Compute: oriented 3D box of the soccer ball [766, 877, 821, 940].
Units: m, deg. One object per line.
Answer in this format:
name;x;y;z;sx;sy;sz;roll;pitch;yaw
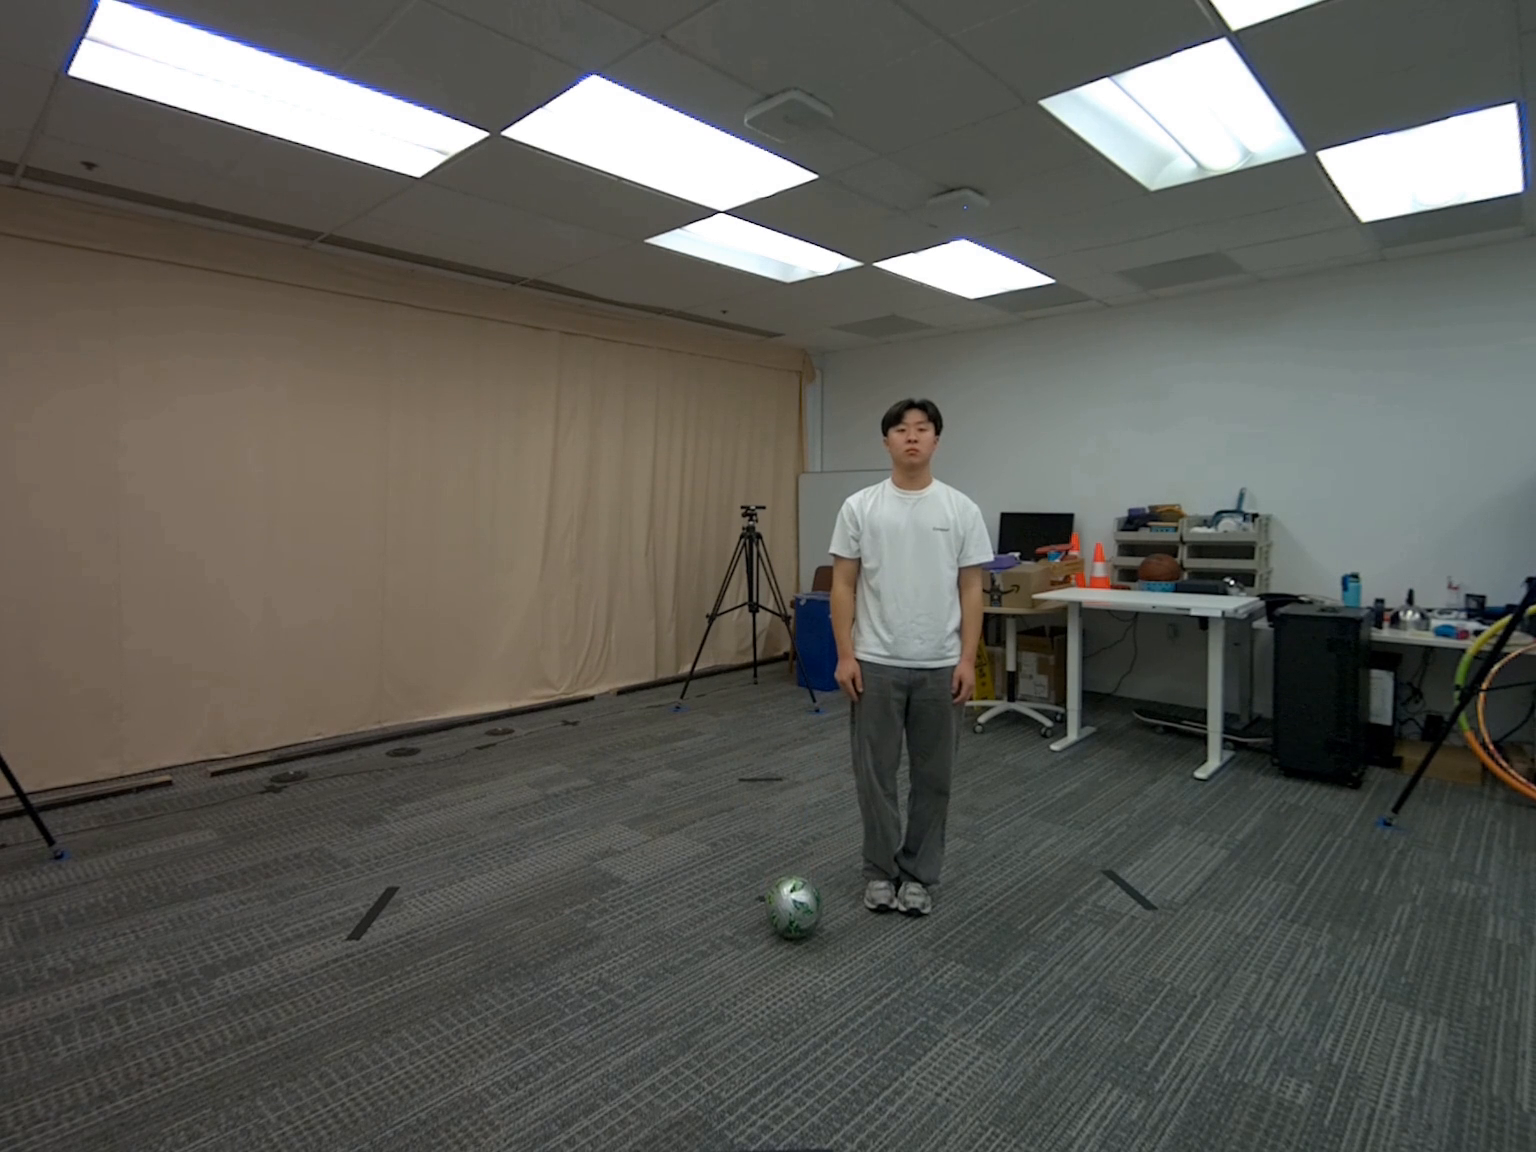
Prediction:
soccer ball;0.093;1.070;2.730;0.187;0.187;0.188;0;4;-2
